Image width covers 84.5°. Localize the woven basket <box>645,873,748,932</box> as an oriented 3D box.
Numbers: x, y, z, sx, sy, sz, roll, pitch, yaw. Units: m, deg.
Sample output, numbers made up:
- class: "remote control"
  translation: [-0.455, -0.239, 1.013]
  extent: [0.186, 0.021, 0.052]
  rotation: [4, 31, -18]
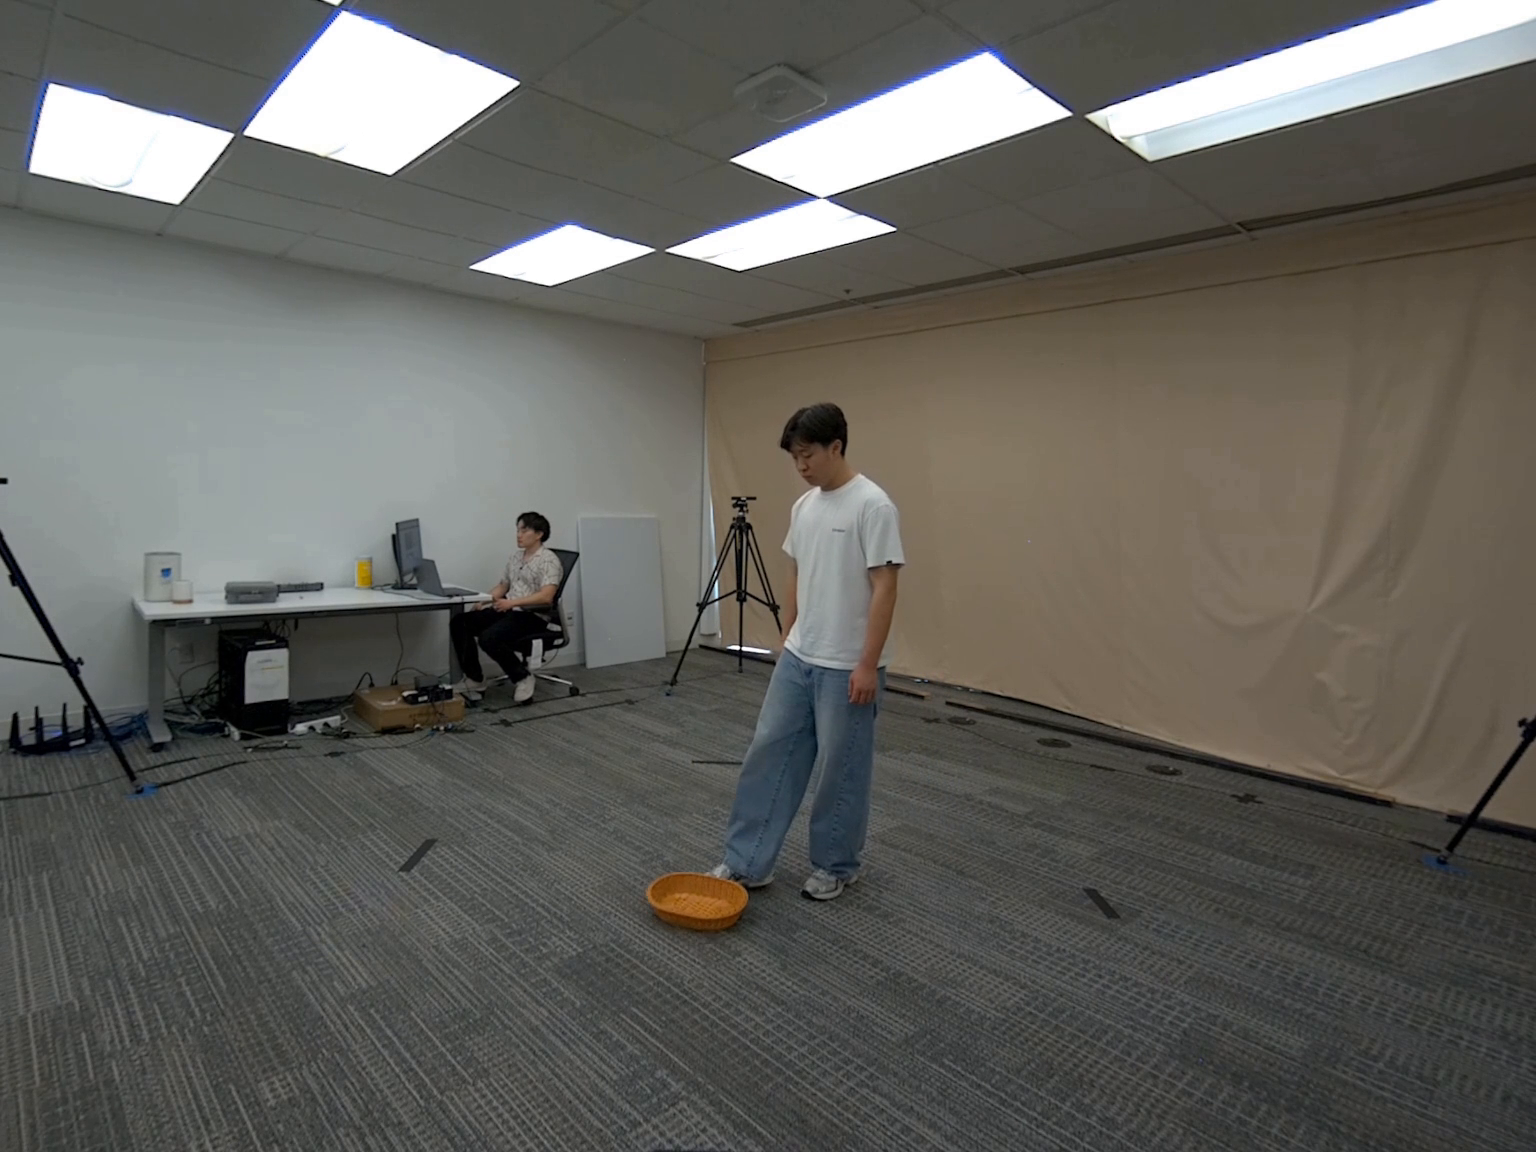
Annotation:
- class: "woven basket"
  translation: [-0.239, 1.090, 2.802]
  extent: [0.357, 0.073, 0.249]
  rotation: [4, 10, 24]
